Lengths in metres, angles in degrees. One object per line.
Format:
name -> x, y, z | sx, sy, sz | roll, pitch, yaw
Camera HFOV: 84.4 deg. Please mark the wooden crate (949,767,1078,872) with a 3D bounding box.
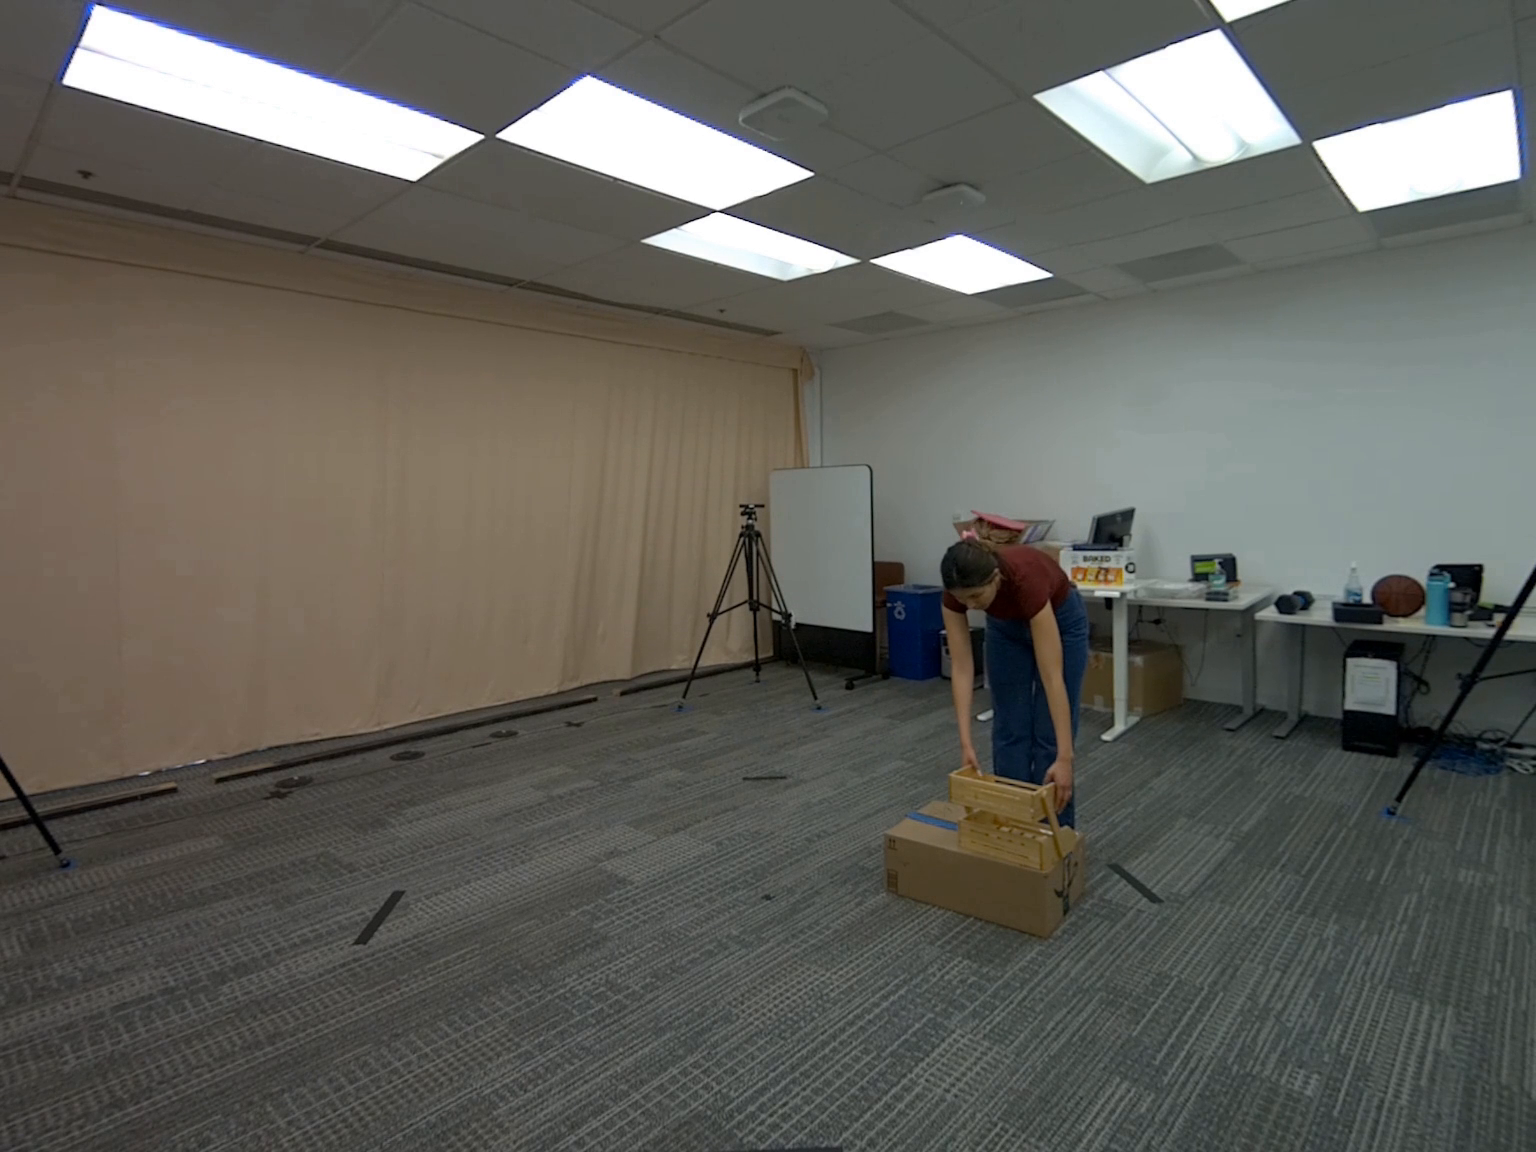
wooden crate -> 0.832, 0.790, 2.835 | 0.335, 0.273, 0.293 | 1, 5, 45
